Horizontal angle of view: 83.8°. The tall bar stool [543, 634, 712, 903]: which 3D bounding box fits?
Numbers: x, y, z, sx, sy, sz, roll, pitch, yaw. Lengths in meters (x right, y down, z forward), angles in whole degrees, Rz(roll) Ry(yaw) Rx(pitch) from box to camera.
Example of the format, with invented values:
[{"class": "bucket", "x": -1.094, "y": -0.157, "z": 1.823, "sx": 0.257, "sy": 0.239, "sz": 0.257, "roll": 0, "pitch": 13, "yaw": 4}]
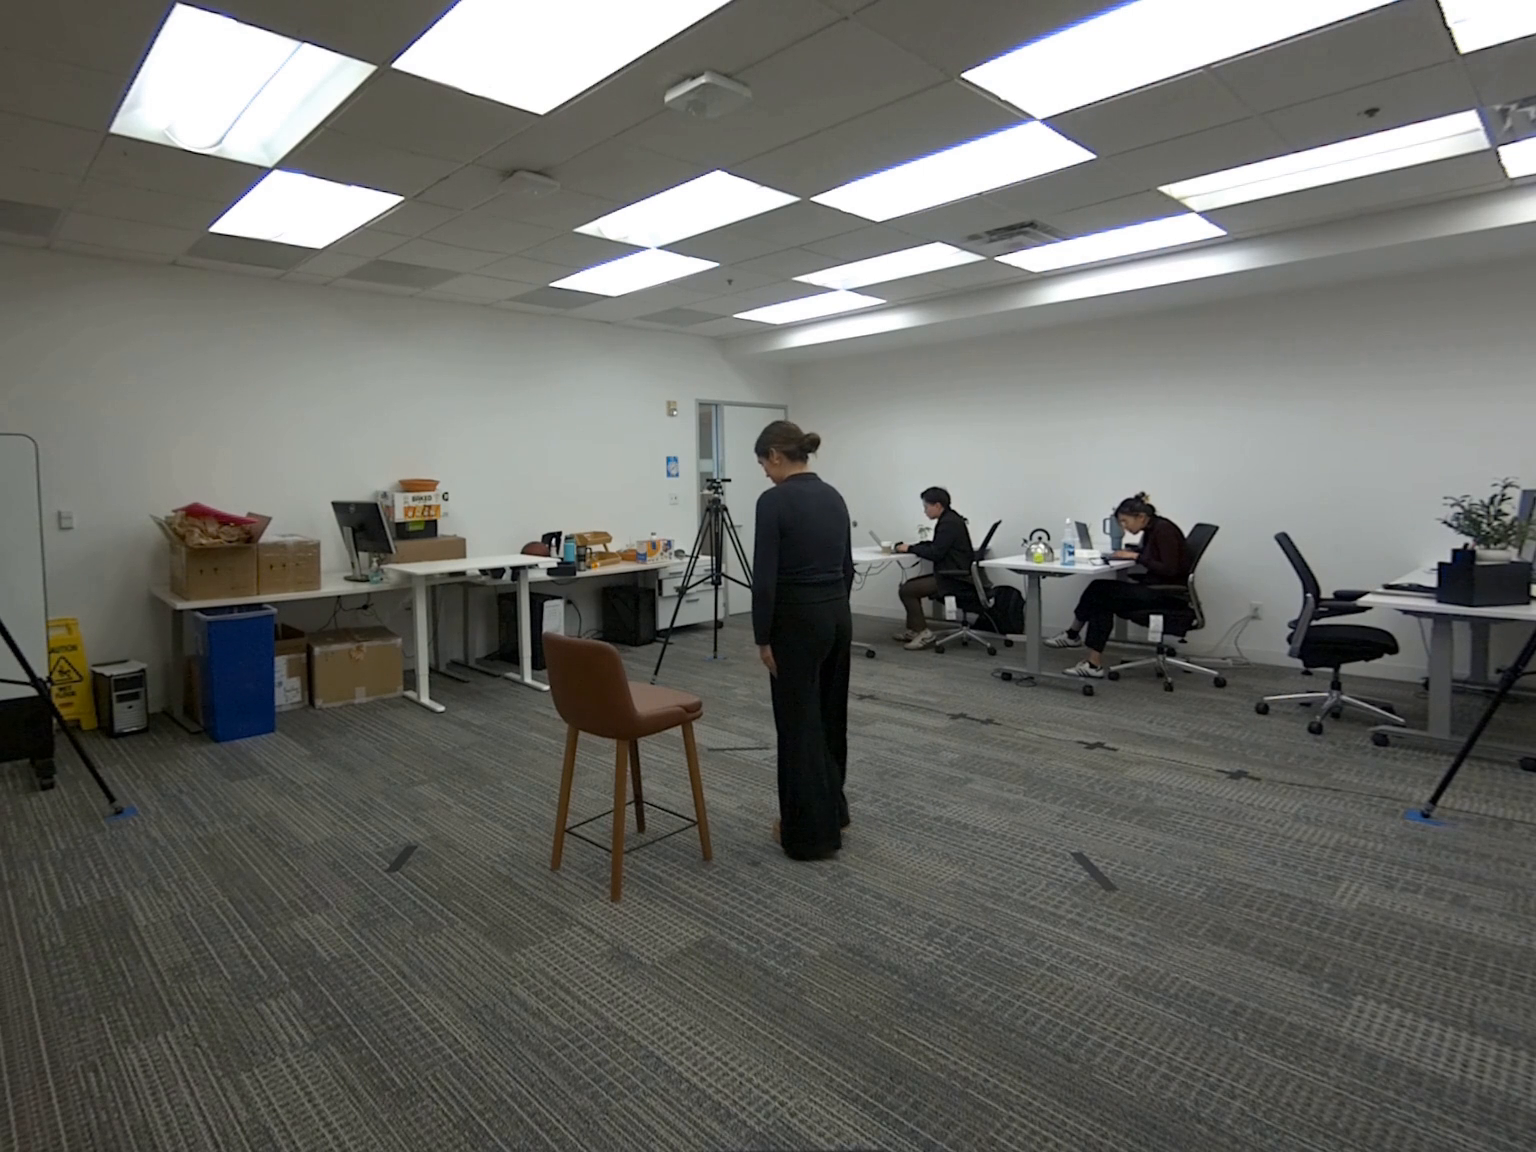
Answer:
[{"class": "tall bar stool", "x": -0.508, "y": 0.617, "z": 3.088, "sx": 0.470, "sy": 0.885, "sz": 0.456, "roll": 3, "pitch": 8, "yaw": 43}]
